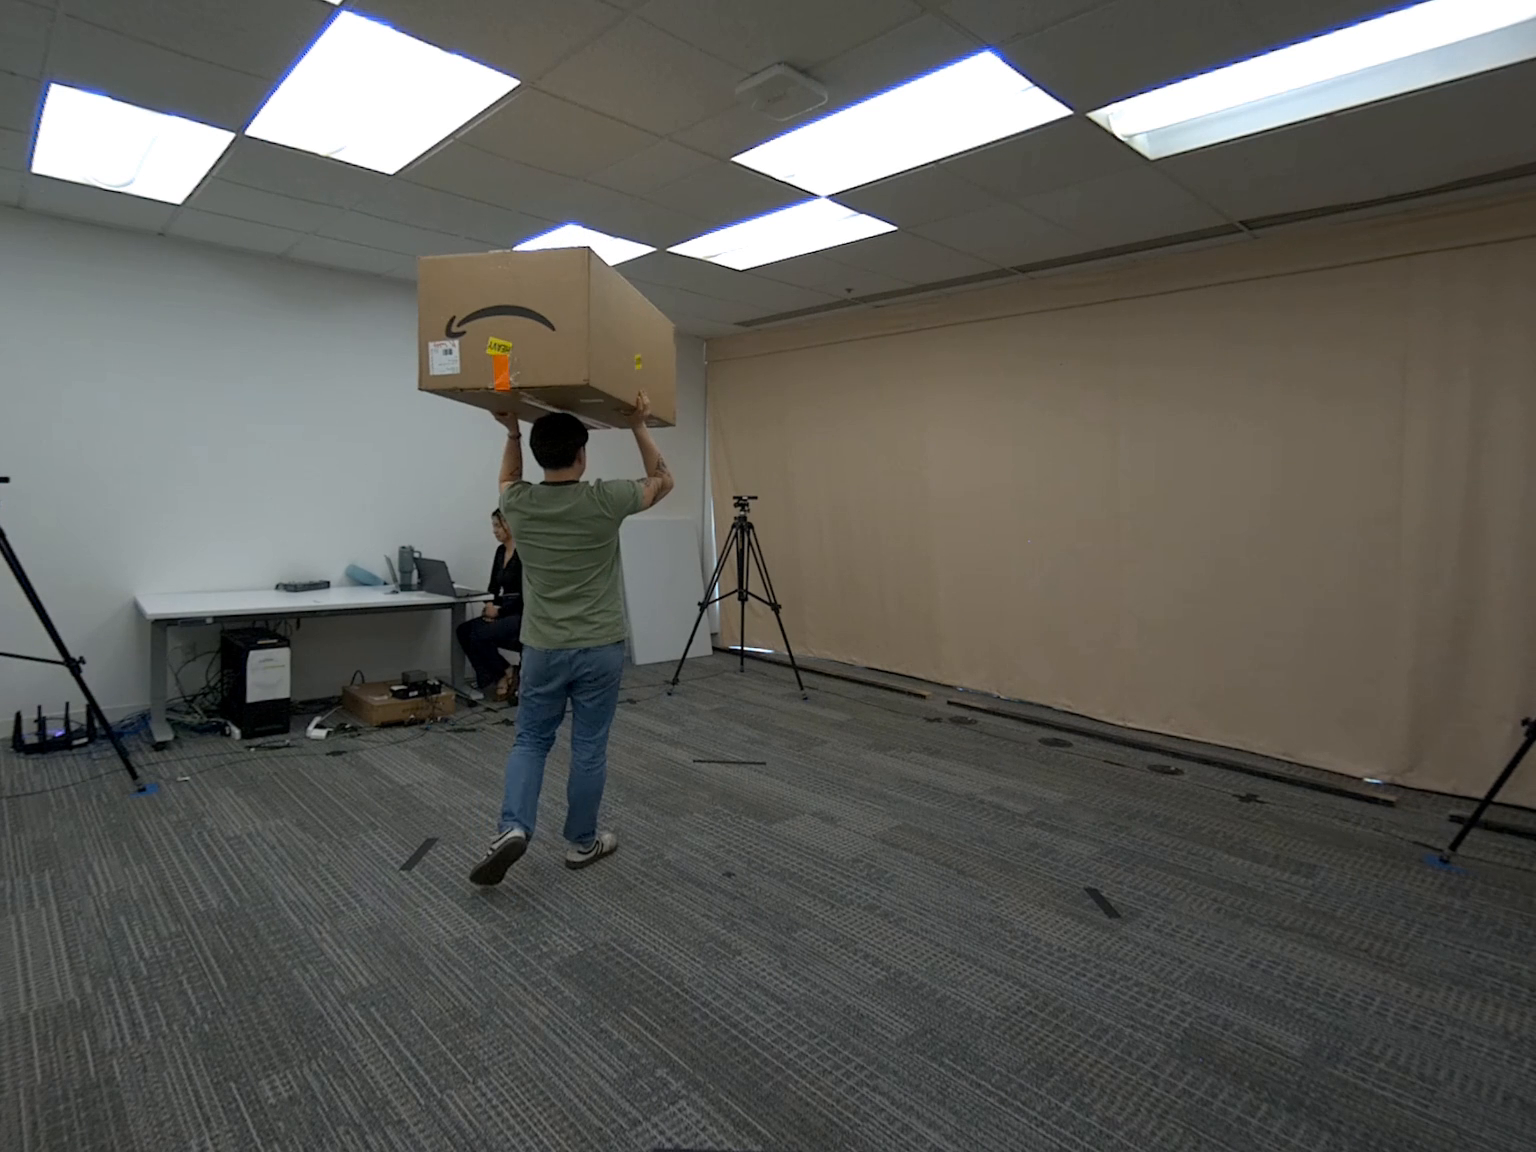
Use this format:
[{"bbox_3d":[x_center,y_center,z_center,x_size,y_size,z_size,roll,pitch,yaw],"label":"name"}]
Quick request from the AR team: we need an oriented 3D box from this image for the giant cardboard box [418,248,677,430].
[{"bbox_3d":[-0.753,-0.816,3.085,0.583,0.426,1.017,1,2,10],"label":"giant cardboard box"}]
